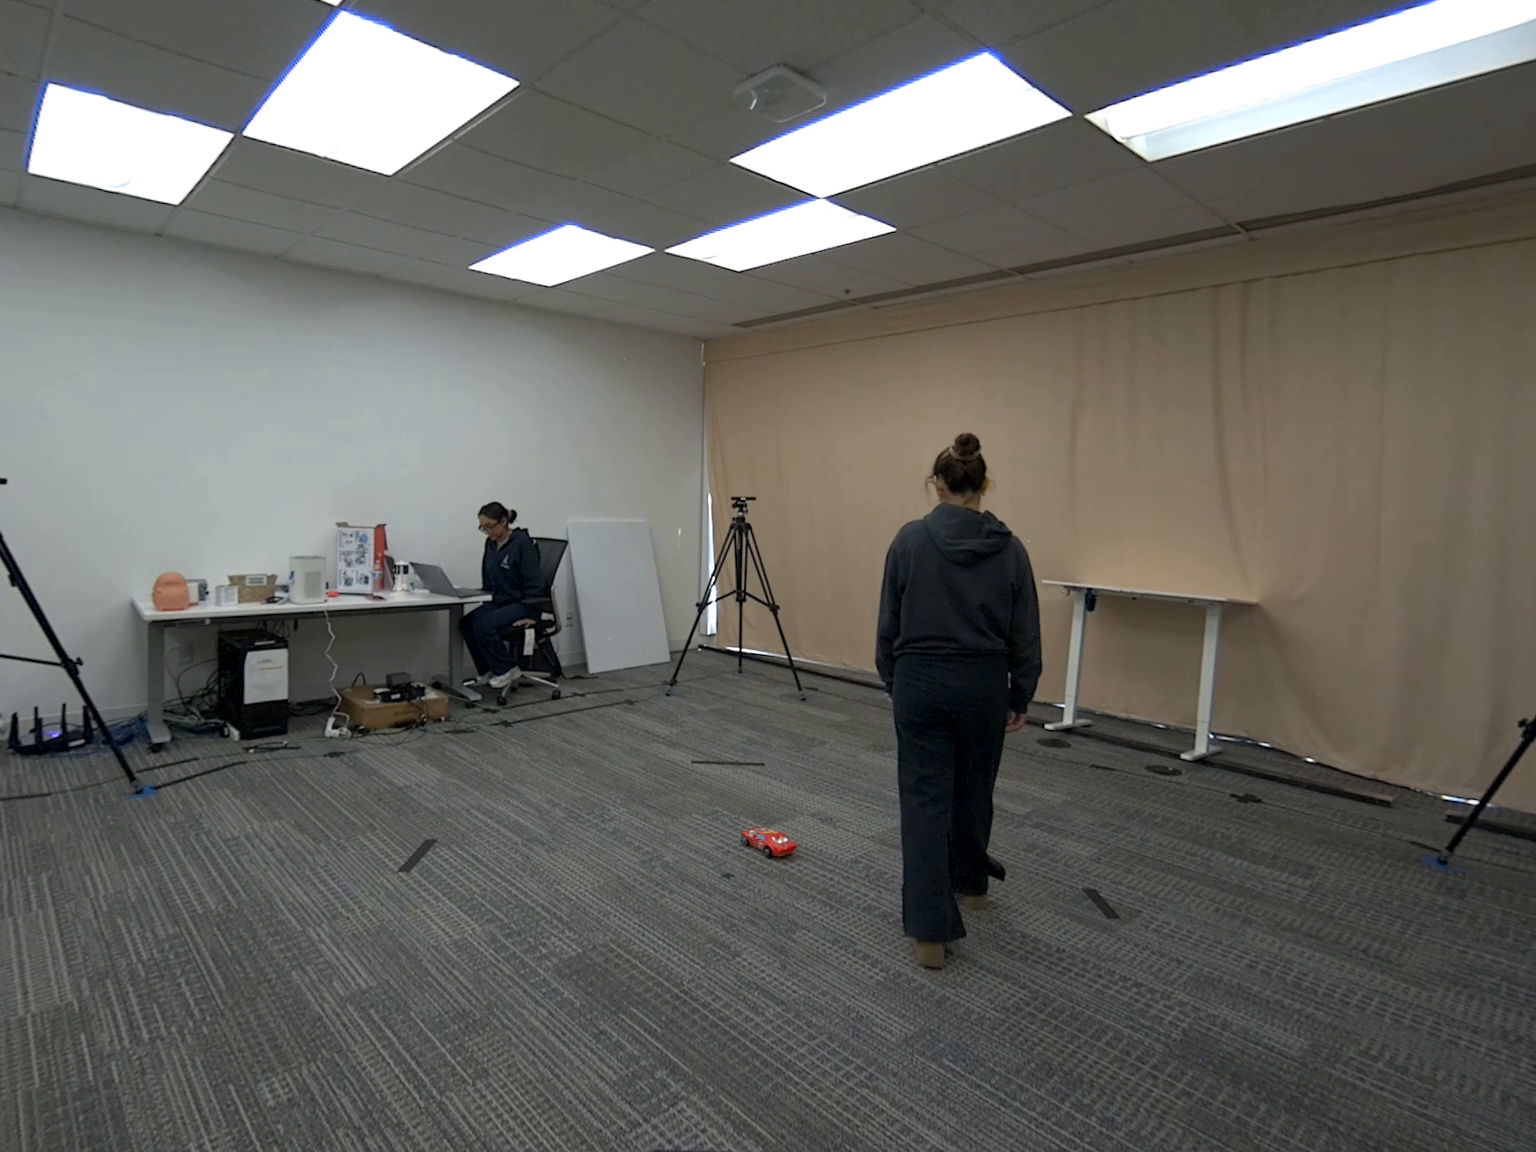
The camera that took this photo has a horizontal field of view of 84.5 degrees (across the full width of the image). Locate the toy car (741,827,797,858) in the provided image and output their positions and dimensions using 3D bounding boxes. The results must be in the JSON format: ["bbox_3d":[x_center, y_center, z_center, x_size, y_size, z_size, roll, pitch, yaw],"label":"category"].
[{"bbox_3d":[-0.002,1.058,3.354,0.127,0.083,0.259,-2,-5,-40],"label":"toy car"}]
